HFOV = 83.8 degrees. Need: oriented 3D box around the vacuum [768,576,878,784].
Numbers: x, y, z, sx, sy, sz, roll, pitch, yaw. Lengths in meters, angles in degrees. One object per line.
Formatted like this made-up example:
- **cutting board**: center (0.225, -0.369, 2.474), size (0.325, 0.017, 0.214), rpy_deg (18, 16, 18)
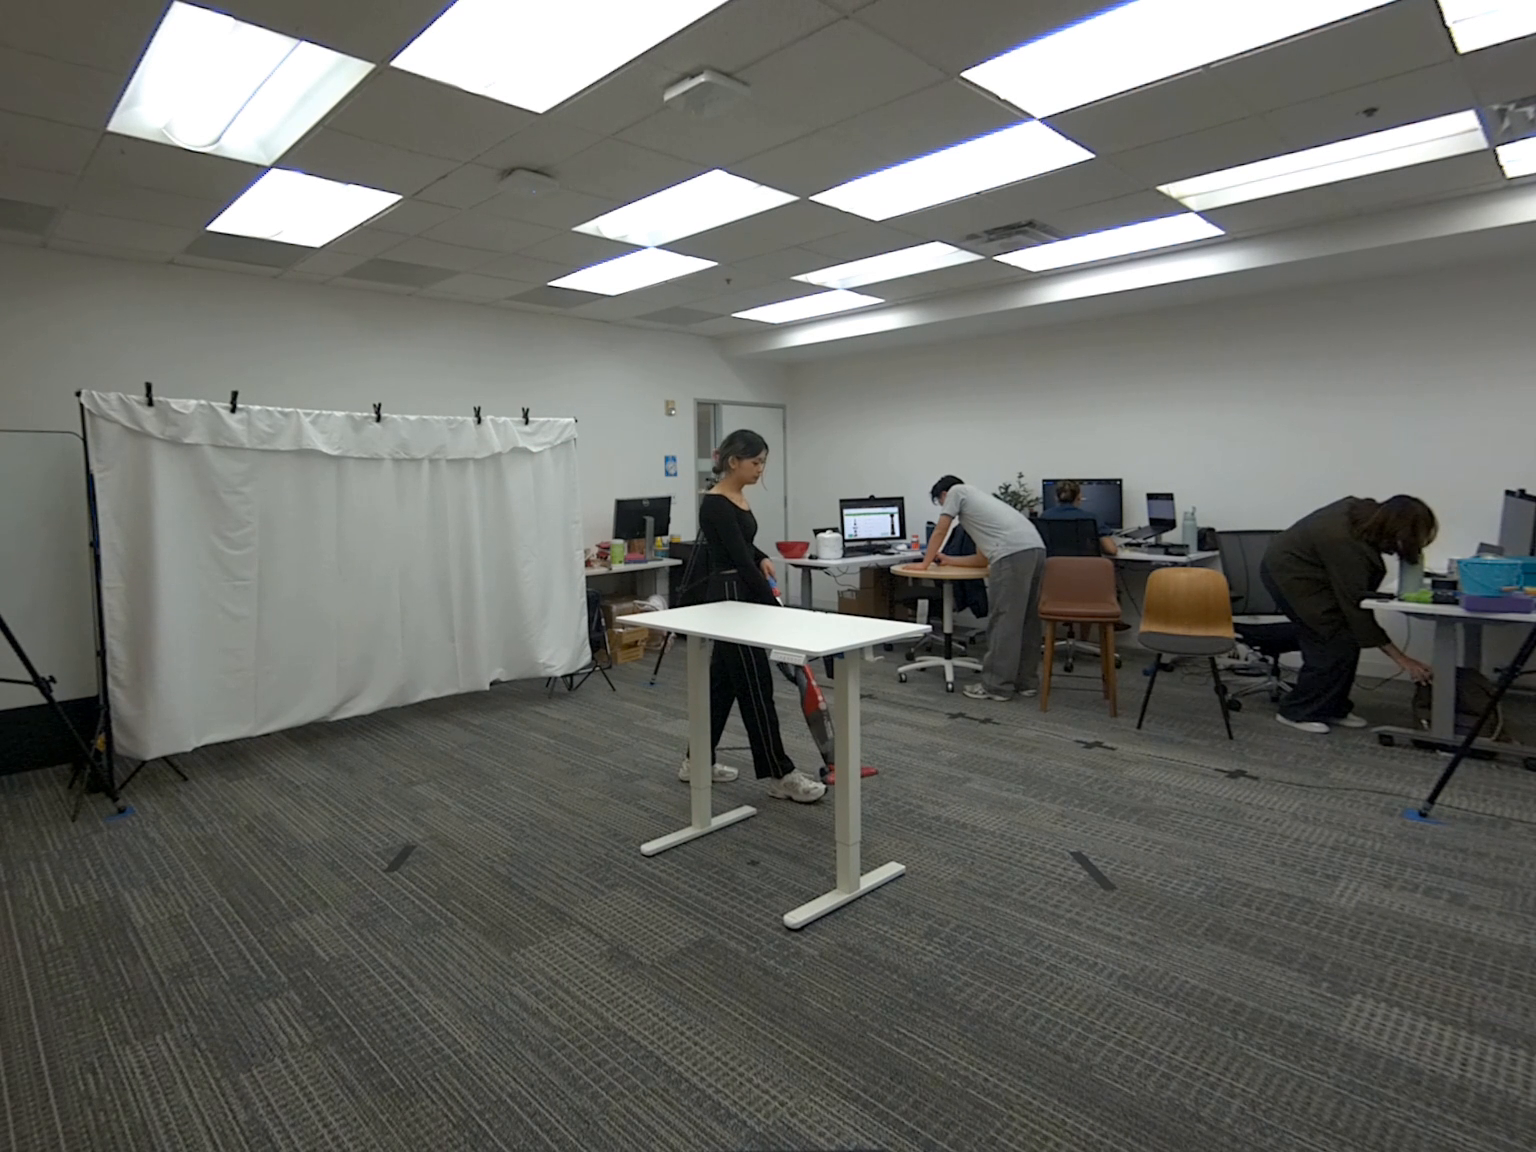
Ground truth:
- **vacuum**: center (0.140, 0.384, 3.669), size (0.245, 1.082, 0.144), rpy_deg (5, -39, -40)
